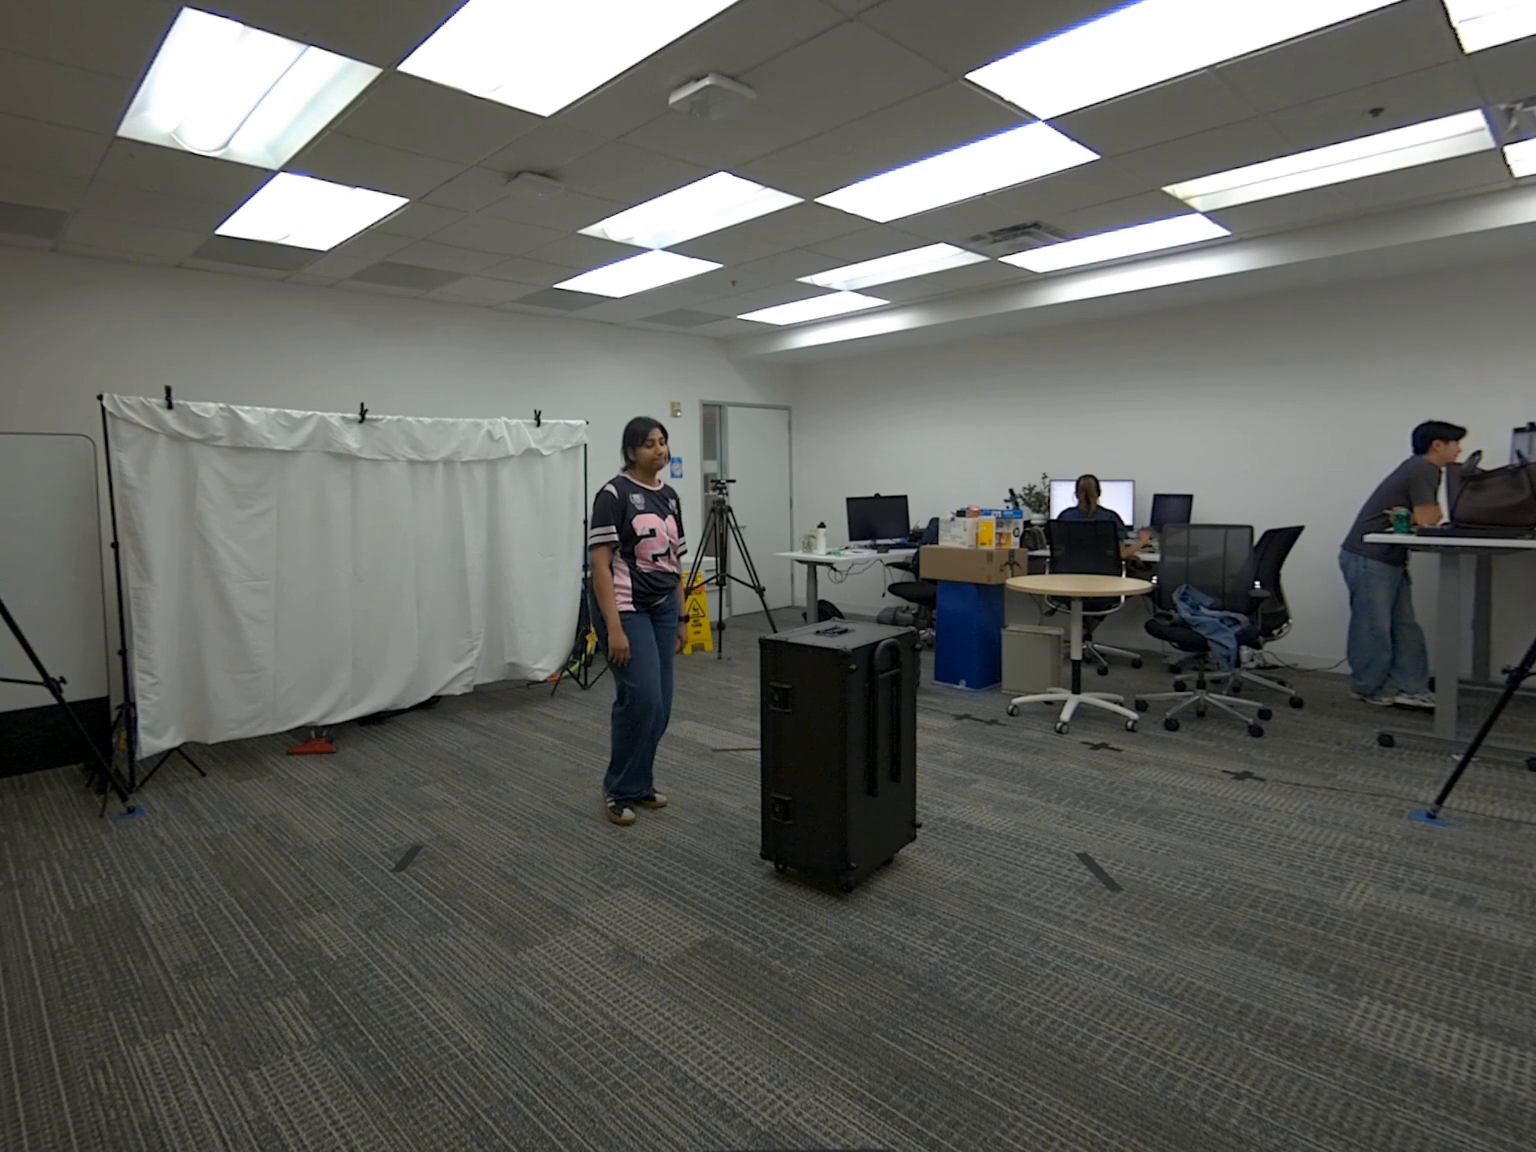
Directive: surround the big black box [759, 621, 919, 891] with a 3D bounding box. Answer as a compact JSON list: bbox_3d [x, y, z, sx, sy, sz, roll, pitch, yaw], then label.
[{"bbox_3d":[0.268,0.626,3.040,0.397,0.865,0.510,3,6,38],"label":"big black box"}]
